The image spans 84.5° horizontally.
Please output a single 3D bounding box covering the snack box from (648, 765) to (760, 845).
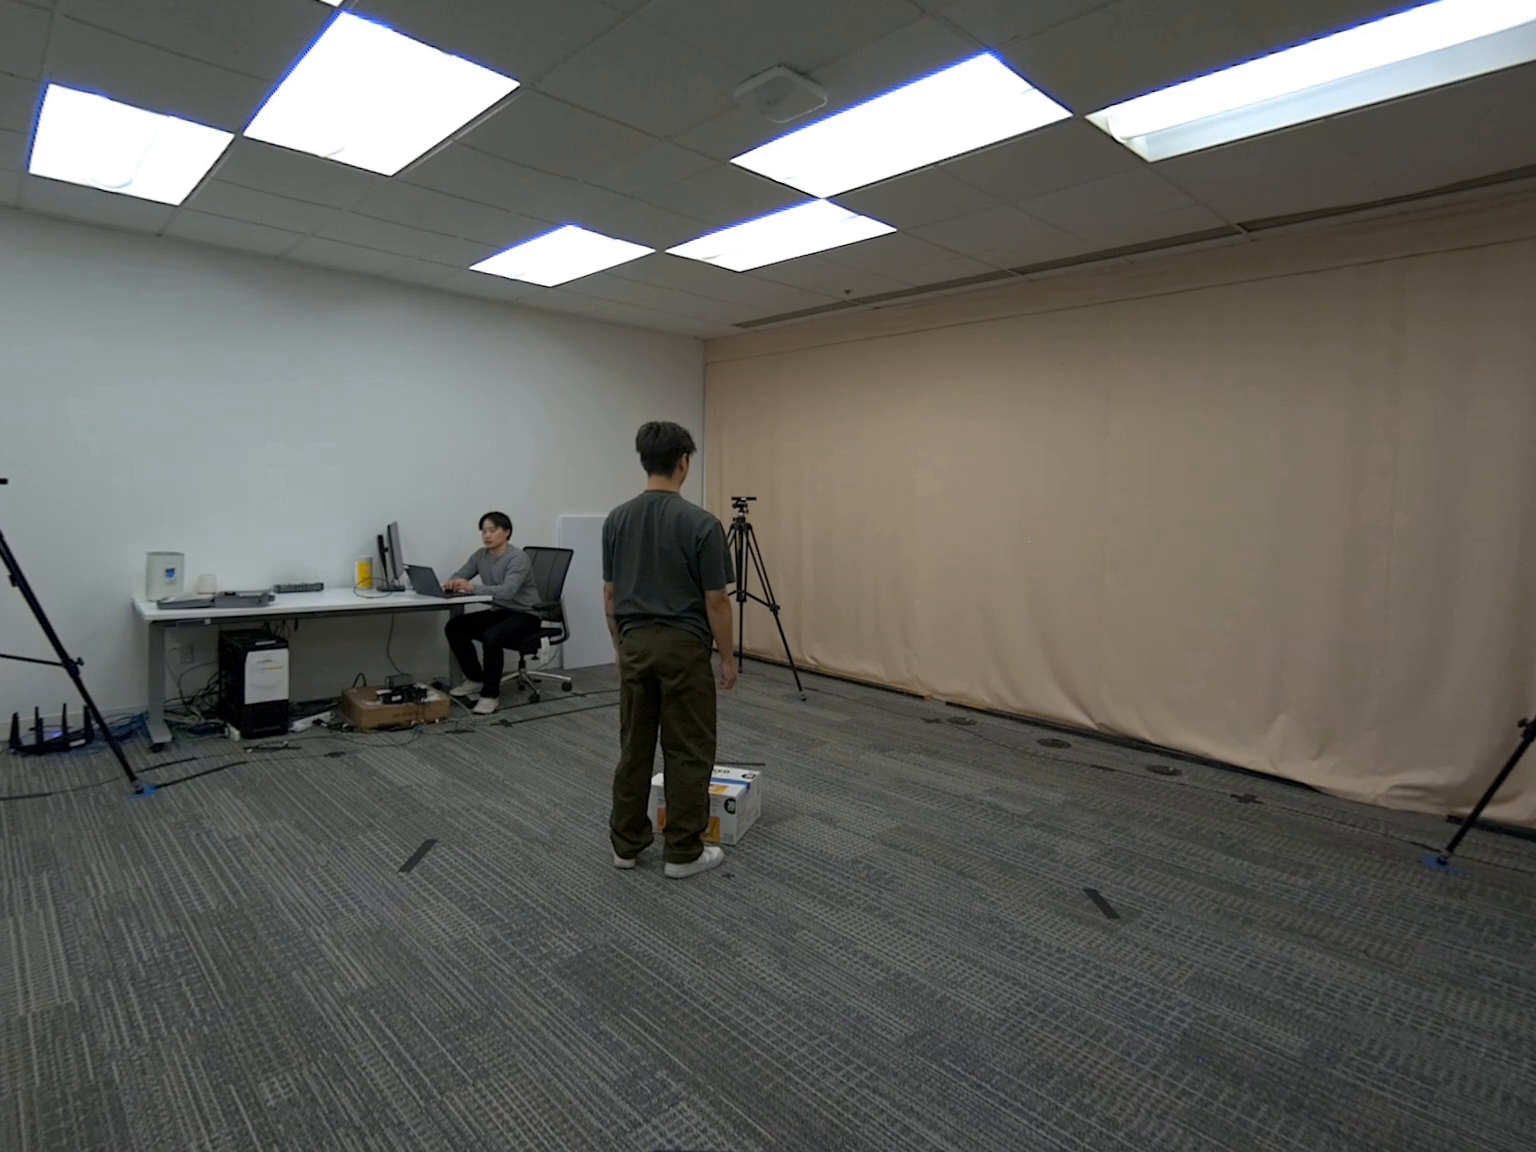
[{"bbox_3d":[-0.288,0.962,3.593,0.411,0.205,0.336,3,5,18],"label":"snack box"}]
